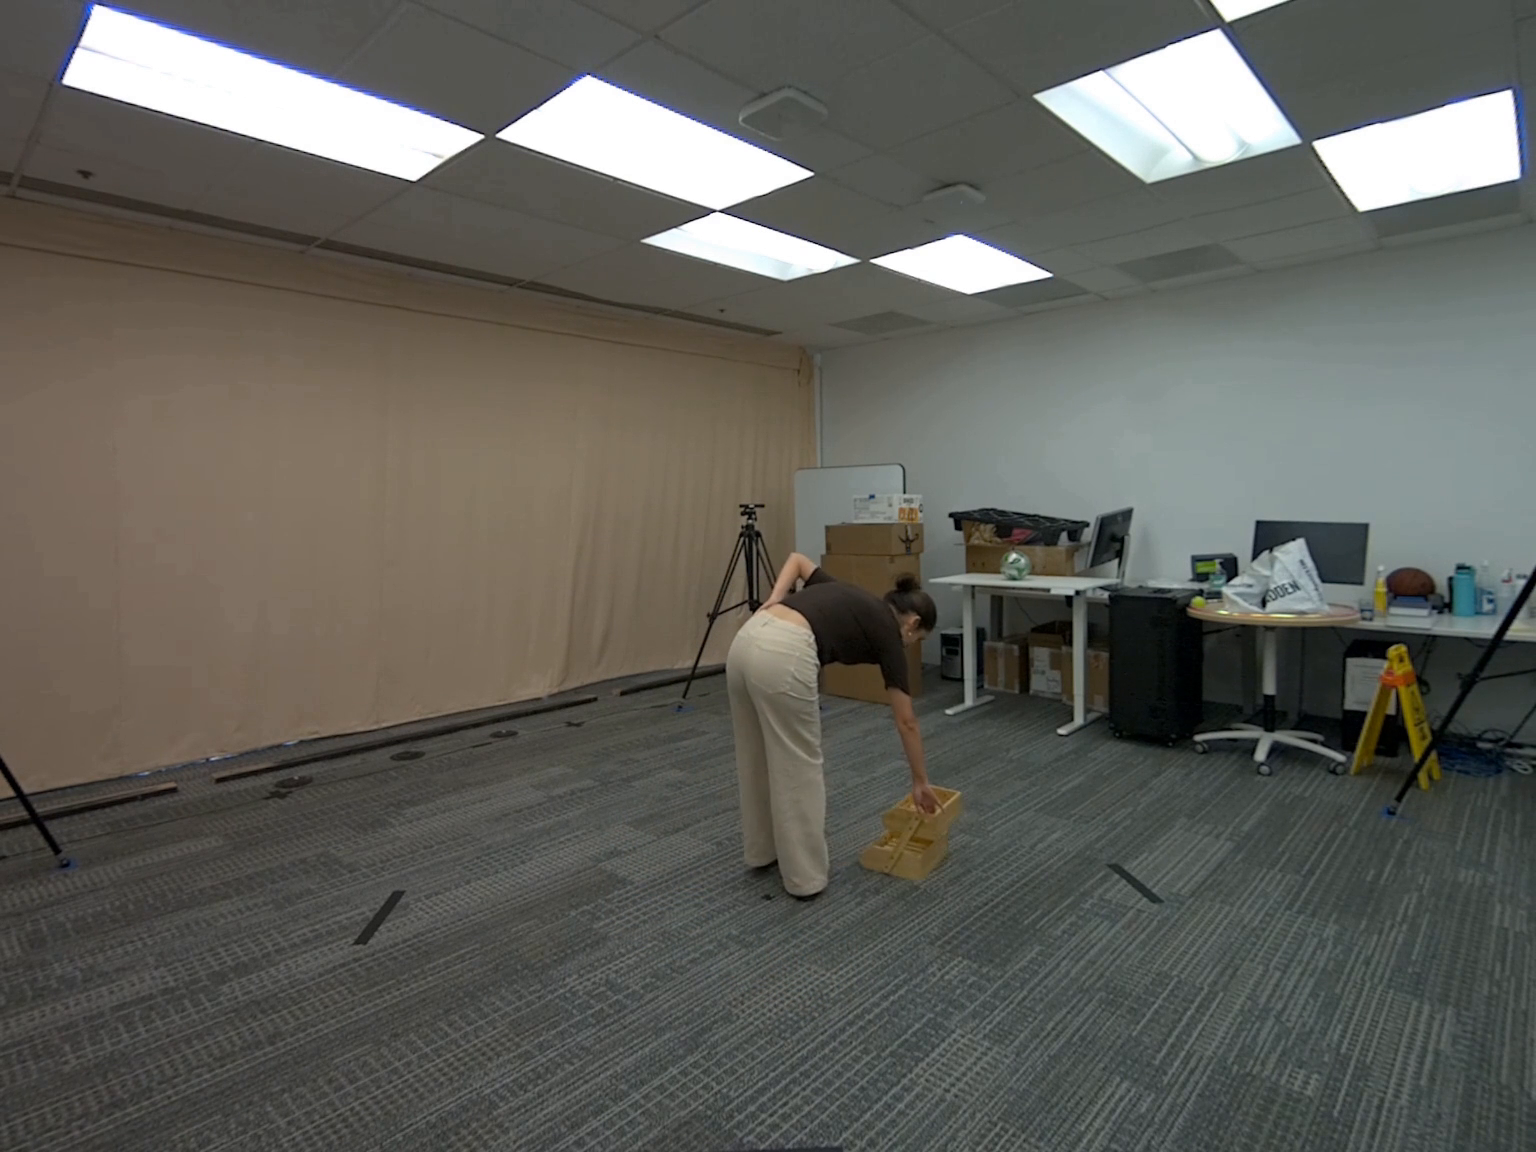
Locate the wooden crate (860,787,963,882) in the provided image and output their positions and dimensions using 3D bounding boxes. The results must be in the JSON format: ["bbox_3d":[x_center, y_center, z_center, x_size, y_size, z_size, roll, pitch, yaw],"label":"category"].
[{"bbox_3d":[0.547,0.972,3.249,0.311,0.272,0.315,3,6,33],"label":"wooden crate"}]
